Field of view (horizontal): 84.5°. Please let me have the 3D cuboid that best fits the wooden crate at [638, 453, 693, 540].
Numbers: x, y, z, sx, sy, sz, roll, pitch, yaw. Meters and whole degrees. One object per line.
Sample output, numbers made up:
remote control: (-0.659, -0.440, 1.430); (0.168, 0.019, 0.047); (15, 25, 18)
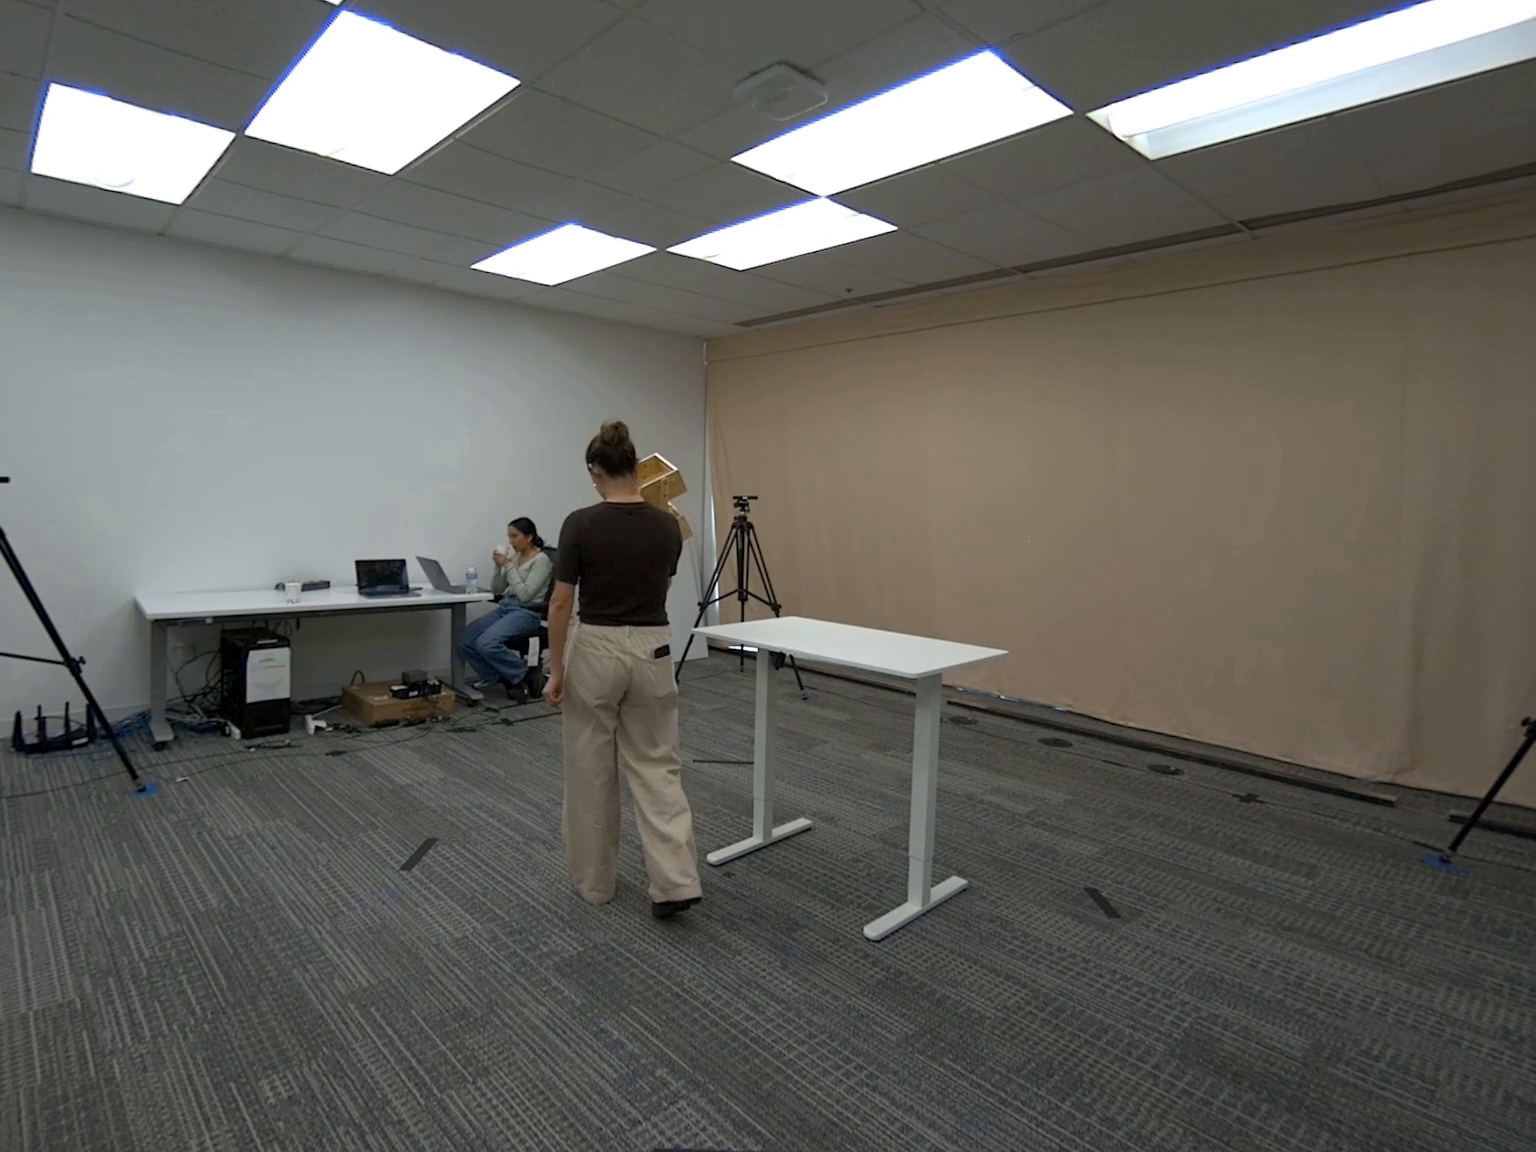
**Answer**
wooden crate: (-0.470, -0.259, 3.205); (0.301, 0.267, 0.333); (-30, 26, -11)
